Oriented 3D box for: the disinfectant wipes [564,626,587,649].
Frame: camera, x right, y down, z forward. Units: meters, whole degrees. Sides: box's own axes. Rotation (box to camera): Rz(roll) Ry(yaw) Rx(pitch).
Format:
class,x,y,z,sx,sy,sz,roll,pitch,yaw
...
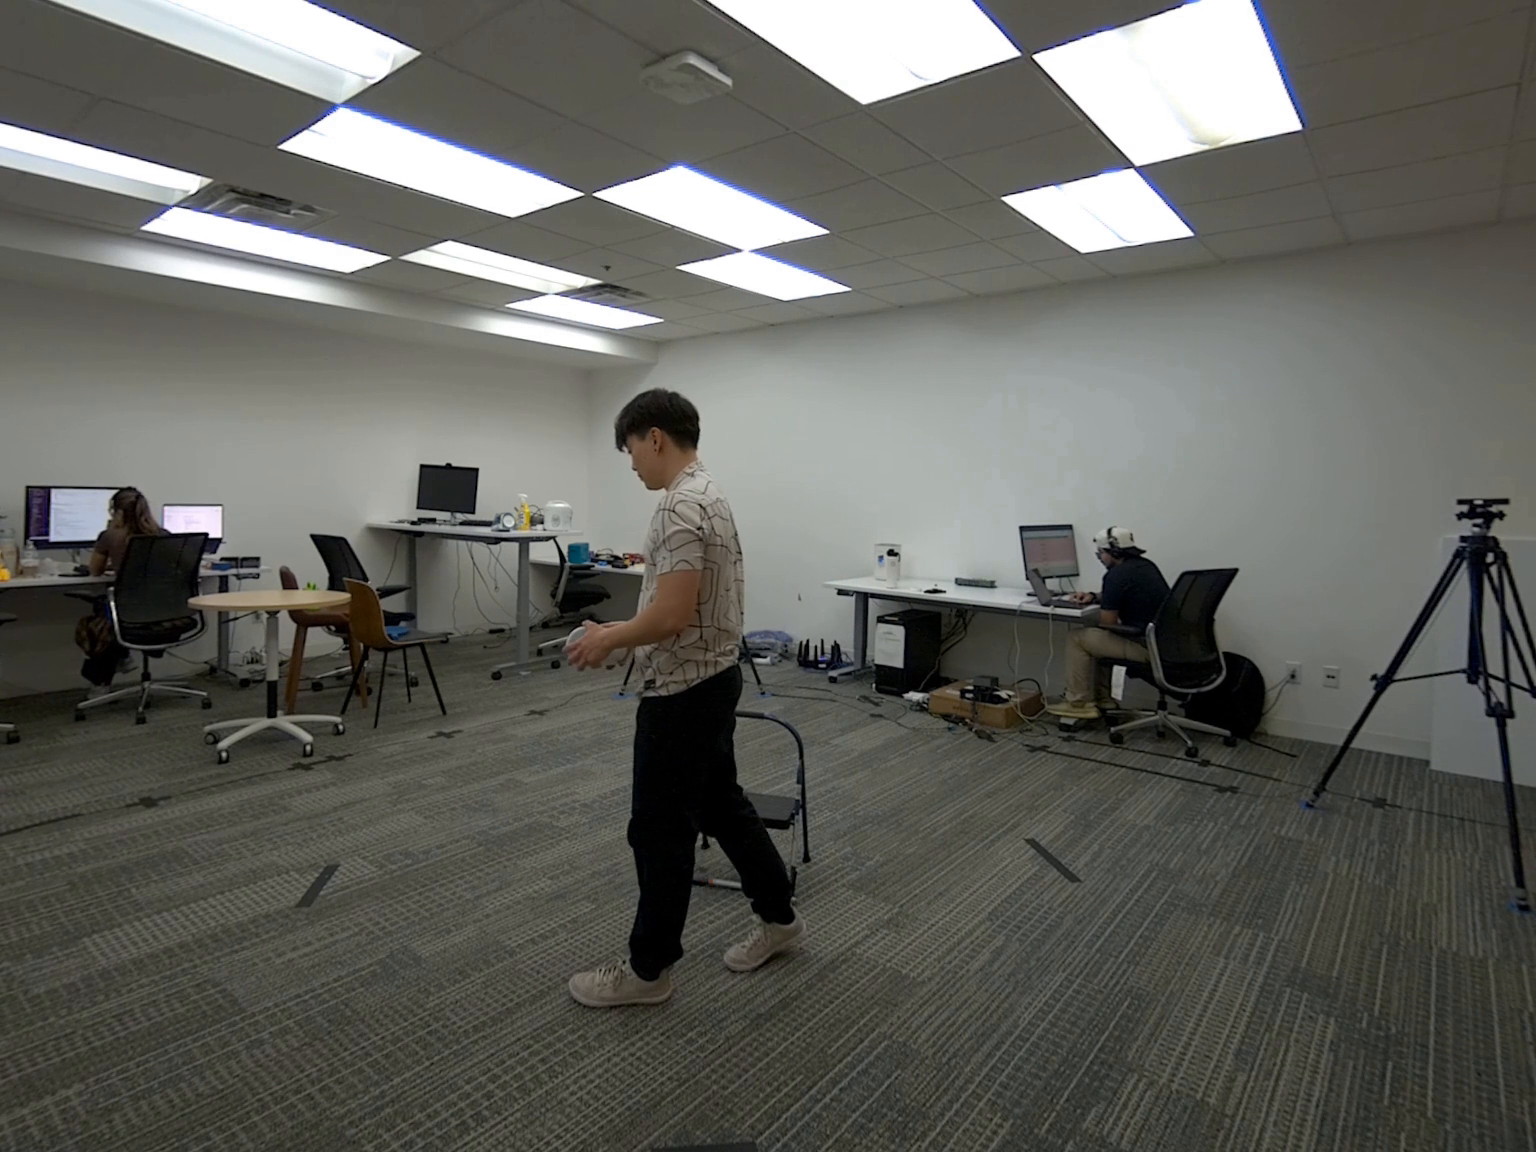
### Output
class,x,y,z,sx,sy,sz,roll,pitch,yaw
disinfectant wipes,-0.488,0.190,2.401,0.119,0.118,0.214,2,-5,8
